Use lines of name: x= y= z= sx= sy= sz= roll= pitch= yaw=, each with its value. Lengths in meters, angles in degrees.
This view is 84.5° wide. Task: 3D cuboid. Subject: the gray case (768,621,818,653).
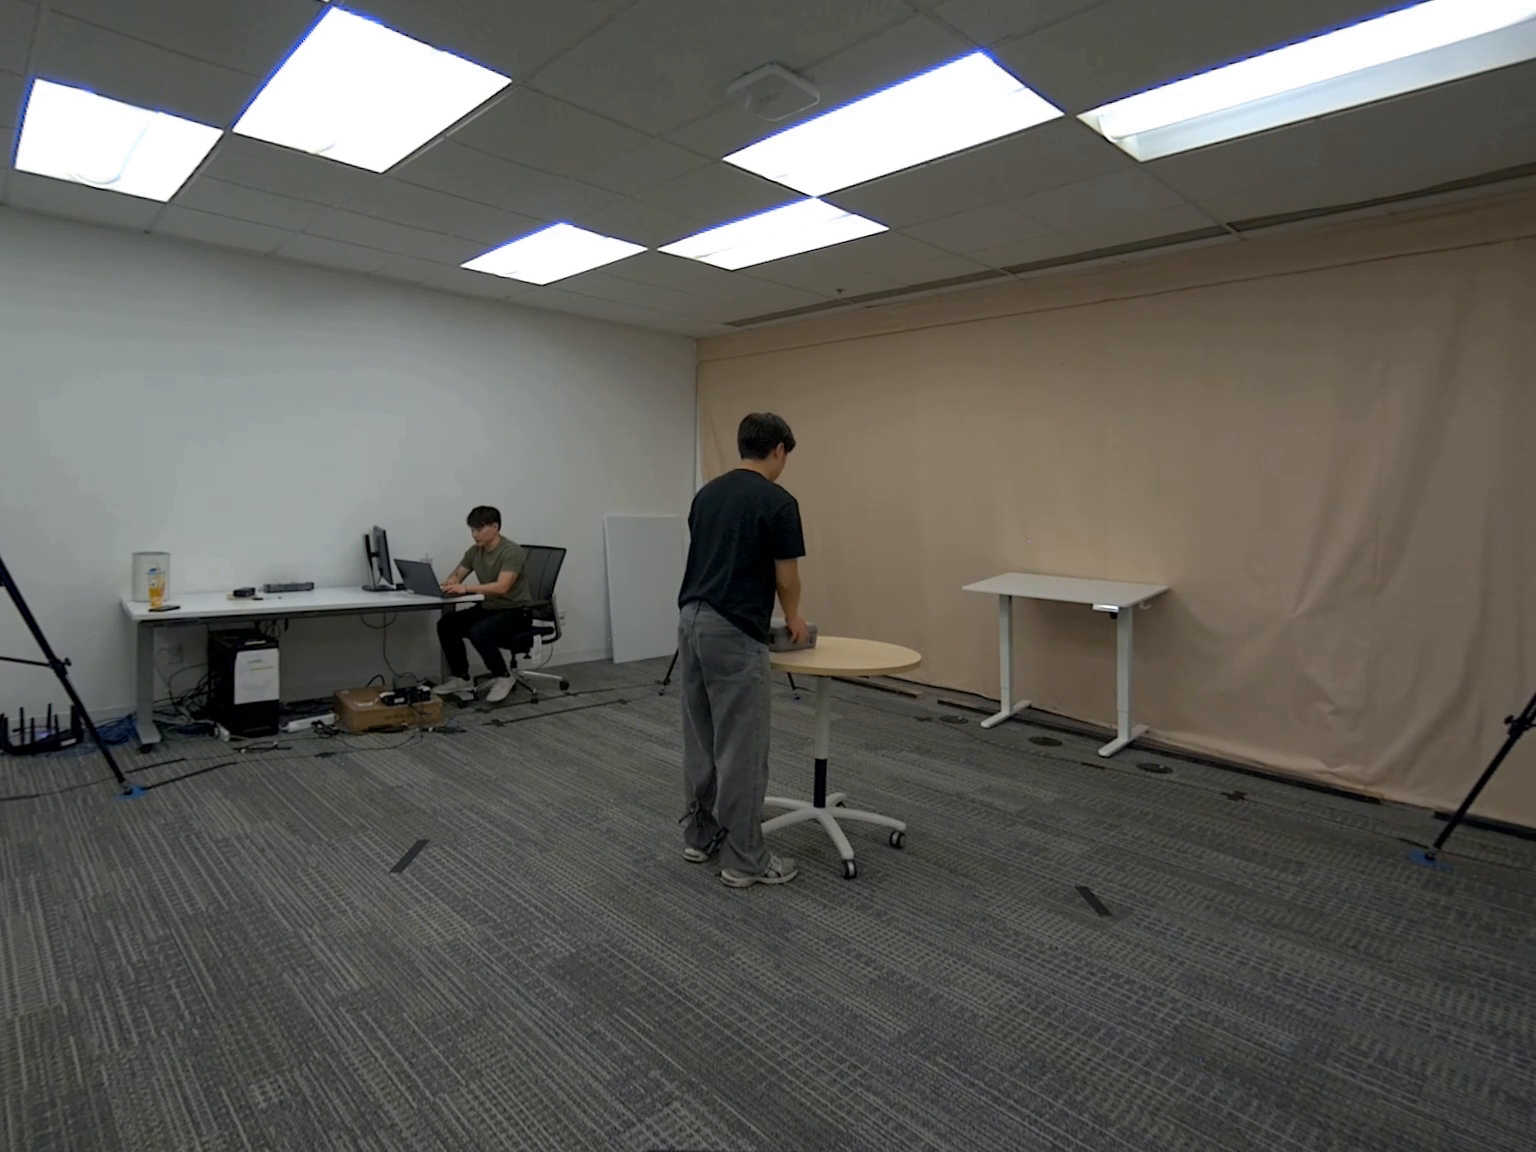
gray case: x=0.047 y=0.241 z=3.501 sx=0.280 sy=0.103 sz=0.270 roll=0 pitch=5 yaw=-43
